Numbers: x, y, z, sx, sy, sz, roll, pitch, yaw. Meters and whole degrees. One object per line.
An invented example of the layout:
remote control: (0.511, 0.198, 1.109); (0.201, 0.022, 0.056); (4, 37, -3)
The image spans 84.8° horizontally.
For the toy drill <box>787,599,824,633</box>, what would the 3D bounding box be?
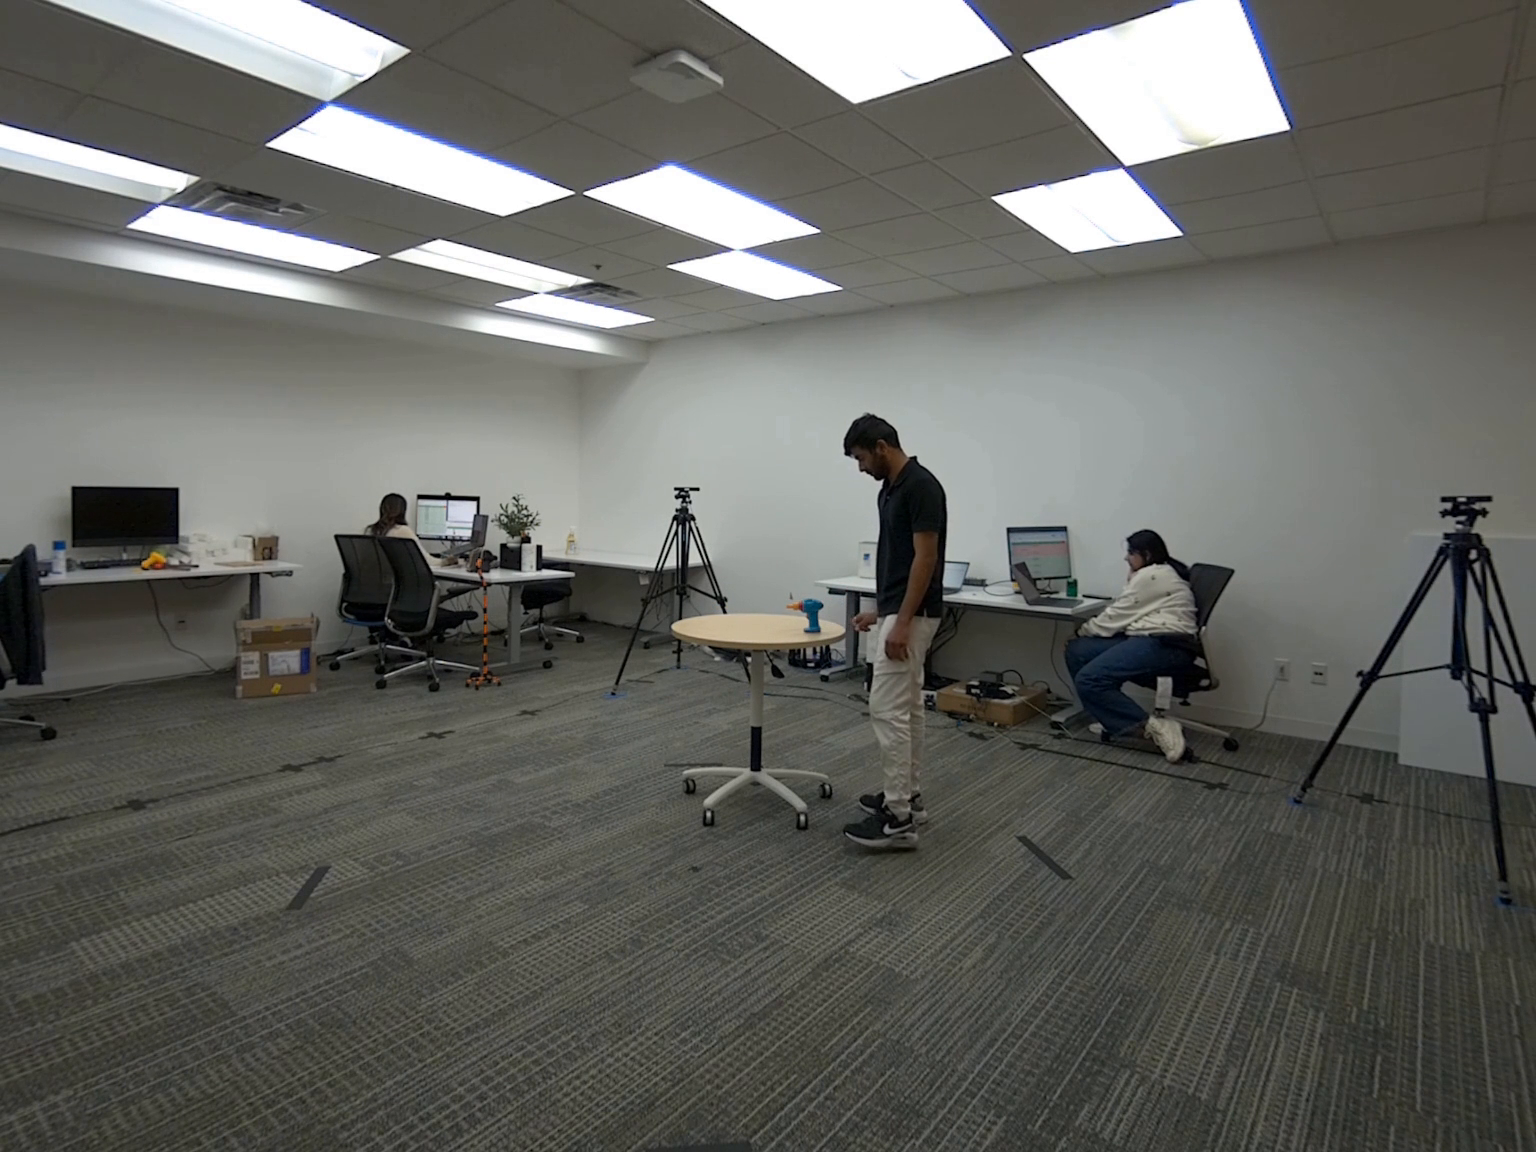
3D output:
toy drill: (0.151, 0.163, 3.652); (0.168, 0.145, 0.062); (2, 5, -11)
